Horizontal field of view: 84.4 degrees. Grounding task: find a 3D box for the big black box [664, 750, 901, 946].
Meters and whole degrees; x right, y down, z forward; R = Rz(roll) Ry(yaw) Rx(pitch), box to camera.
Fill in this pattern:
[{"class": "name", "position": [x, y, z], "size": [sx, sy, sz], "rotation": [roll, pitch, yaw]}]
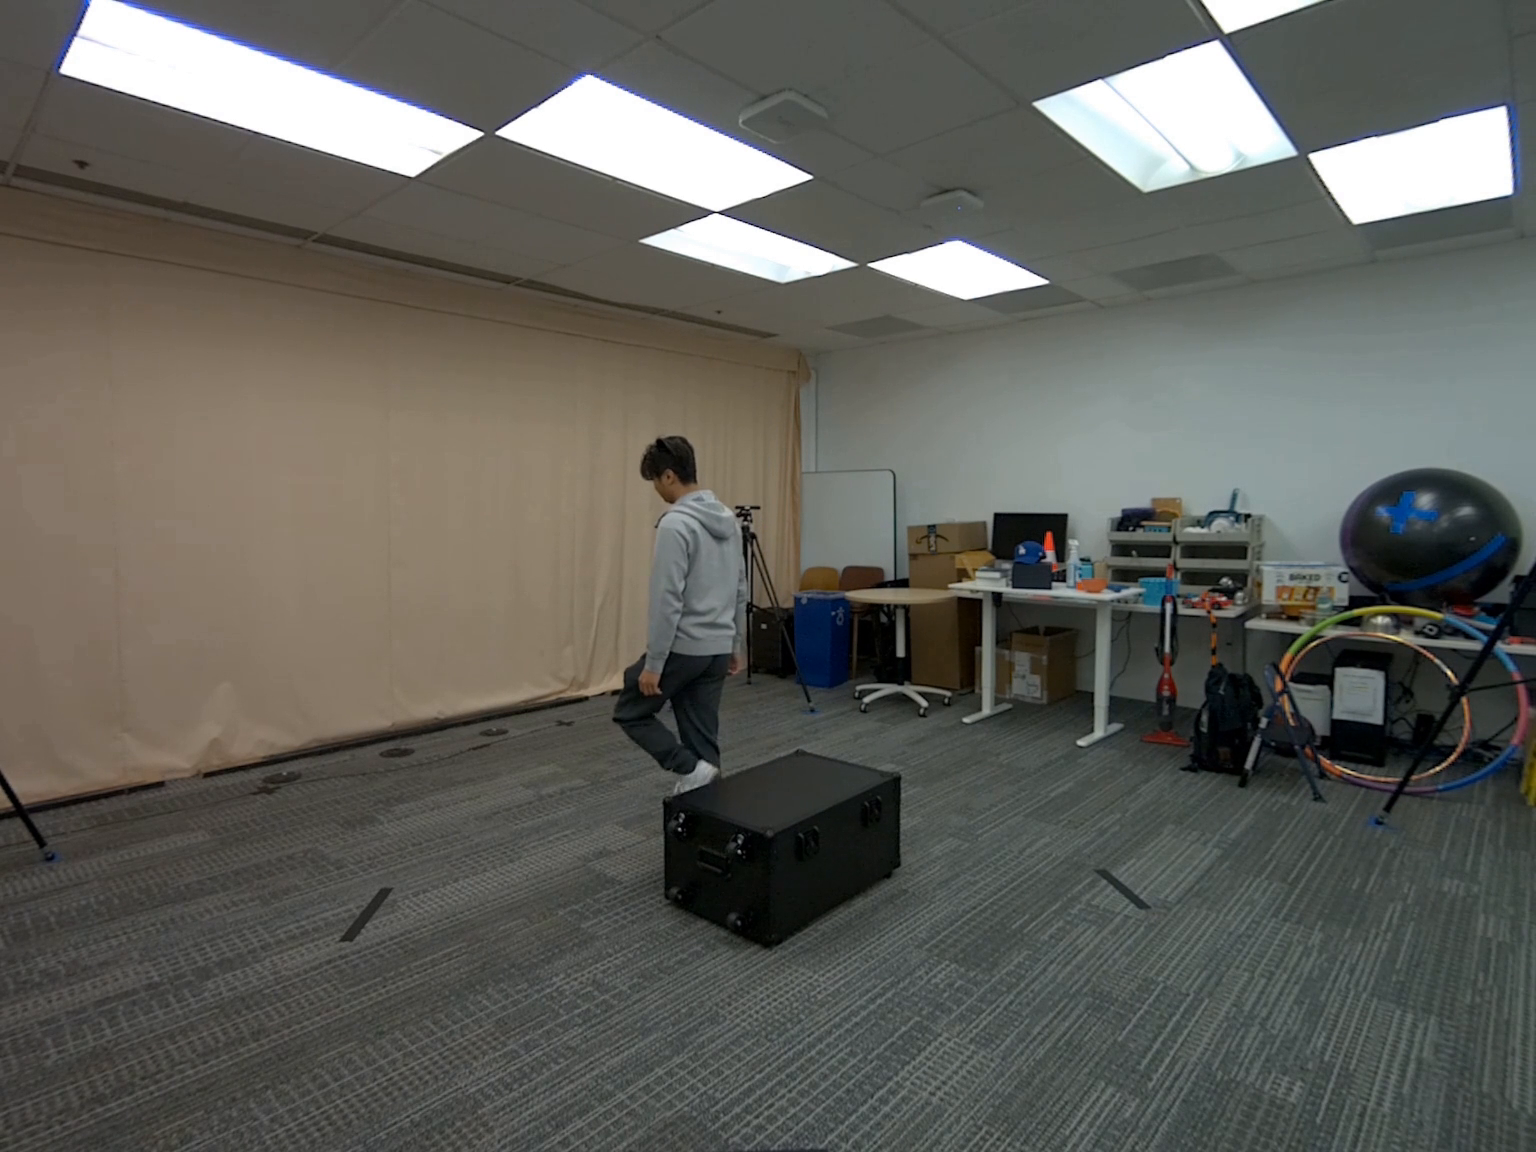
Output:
[{"class": "big black box", "position": [0.053, 0.950, 3.033], "size": [0.538, 0.395, 0.835], "rotation": [3, 5, 41]}]
